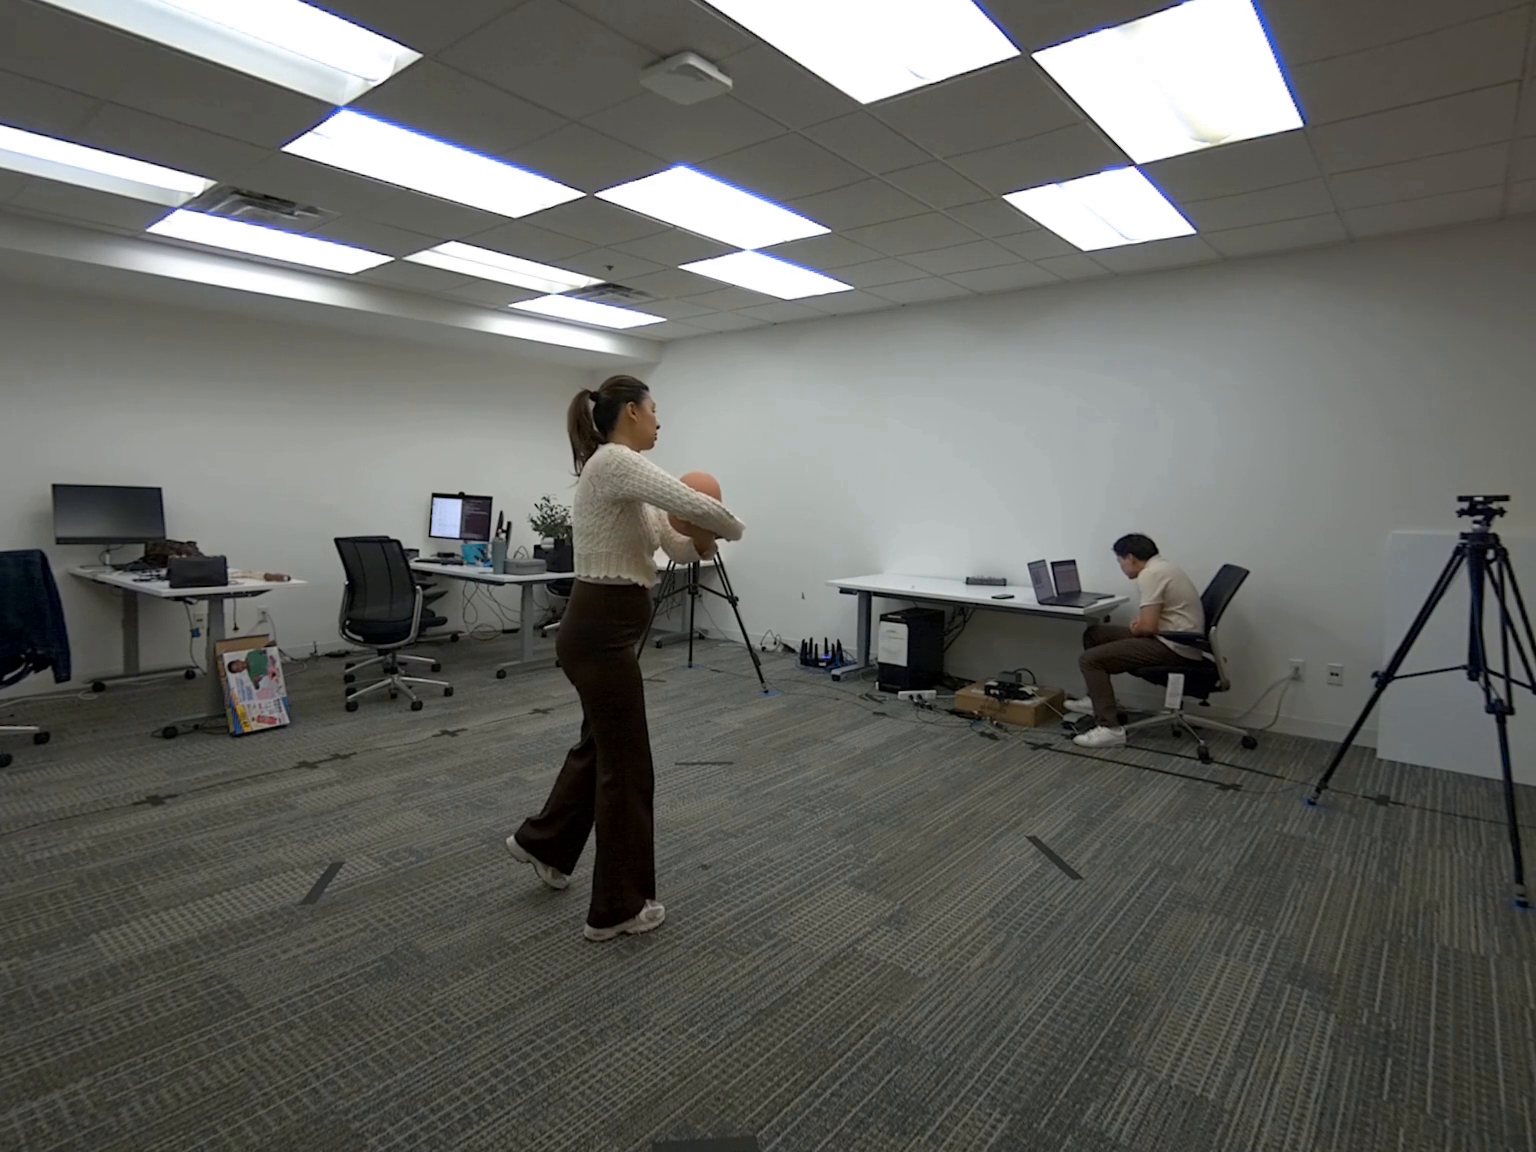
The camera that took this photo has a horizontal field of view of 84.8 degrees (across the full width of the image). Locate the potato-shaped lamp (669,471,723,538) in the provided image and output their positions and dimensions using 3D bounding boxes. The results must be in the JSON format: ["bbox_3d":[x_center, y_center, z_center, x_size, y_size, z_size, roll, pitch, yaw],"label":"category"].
[{"bbox_3d":[-0.222,-0.213,2.507,0.165,0.194,0.175,12,41,0],"label":"potato-shaped lamp"}]
